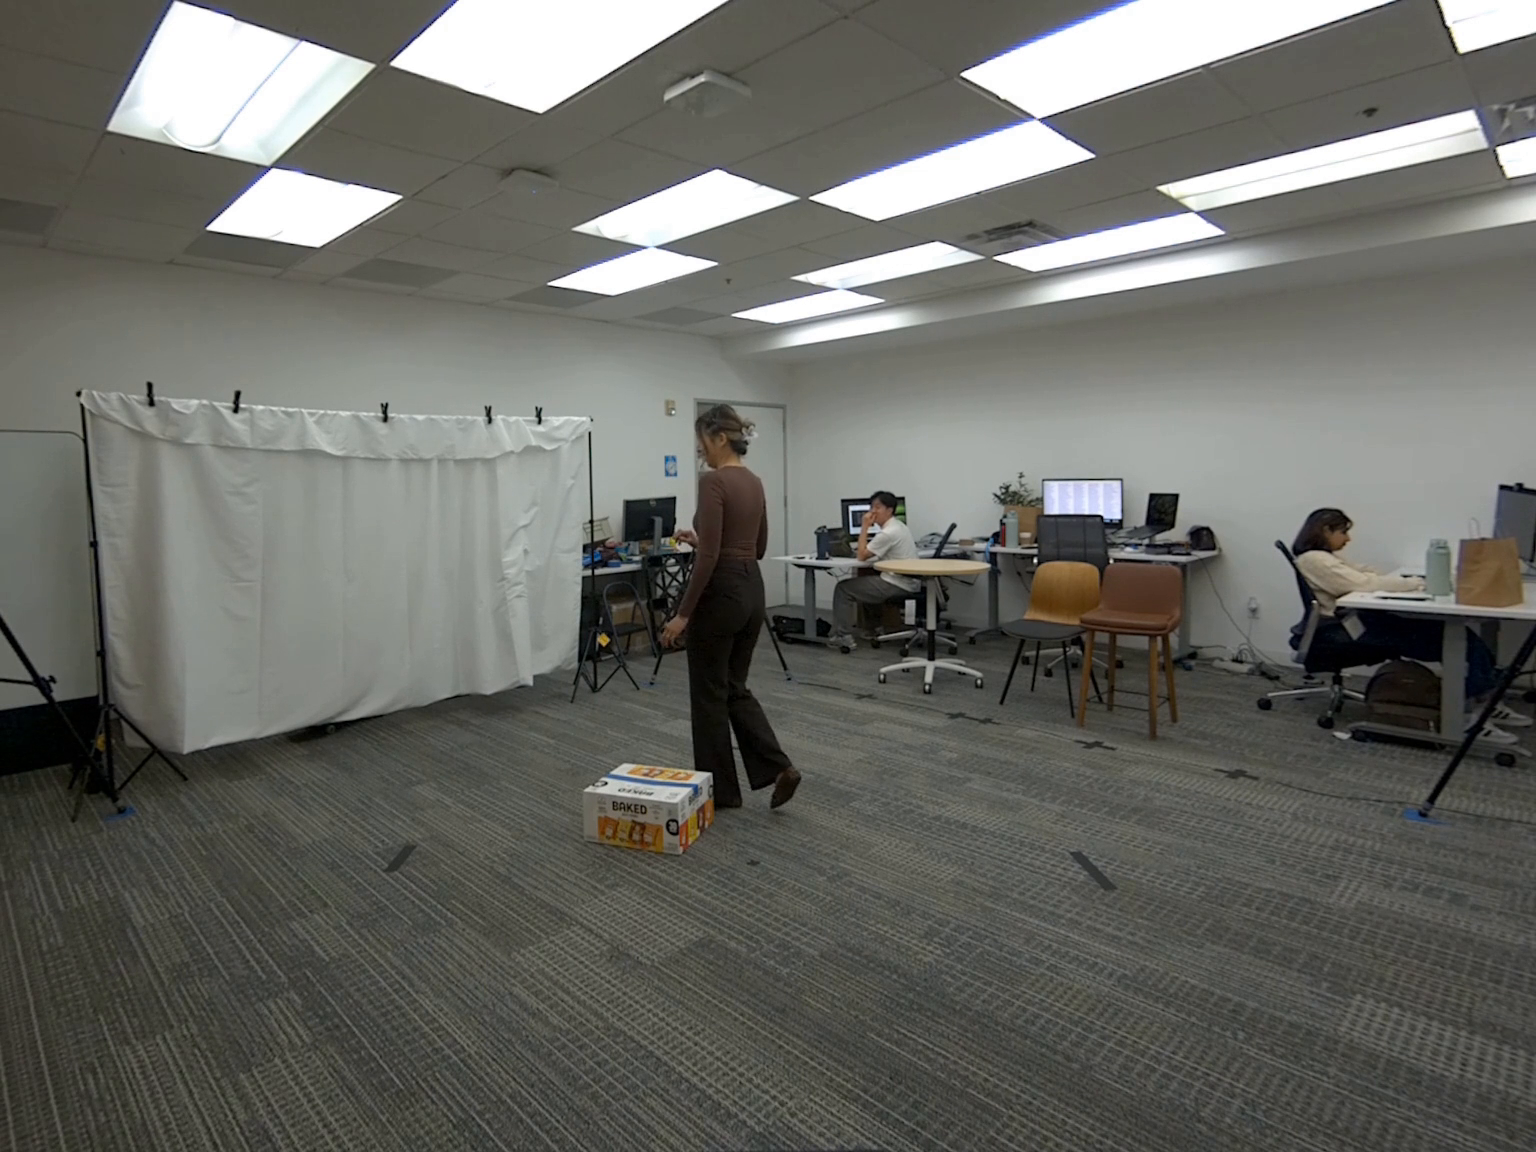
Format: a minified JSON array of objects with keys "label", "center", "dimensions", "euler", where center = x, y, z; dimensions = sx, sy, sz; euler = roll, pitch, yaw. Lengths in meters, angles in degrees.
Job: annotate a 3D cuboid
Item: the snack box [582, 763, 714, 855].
[{"label":"snack box","center":[-0.470,0.915,3.391],"dimensions":[0.413,0.205,0.335],"euler":[1,6,20]}]
